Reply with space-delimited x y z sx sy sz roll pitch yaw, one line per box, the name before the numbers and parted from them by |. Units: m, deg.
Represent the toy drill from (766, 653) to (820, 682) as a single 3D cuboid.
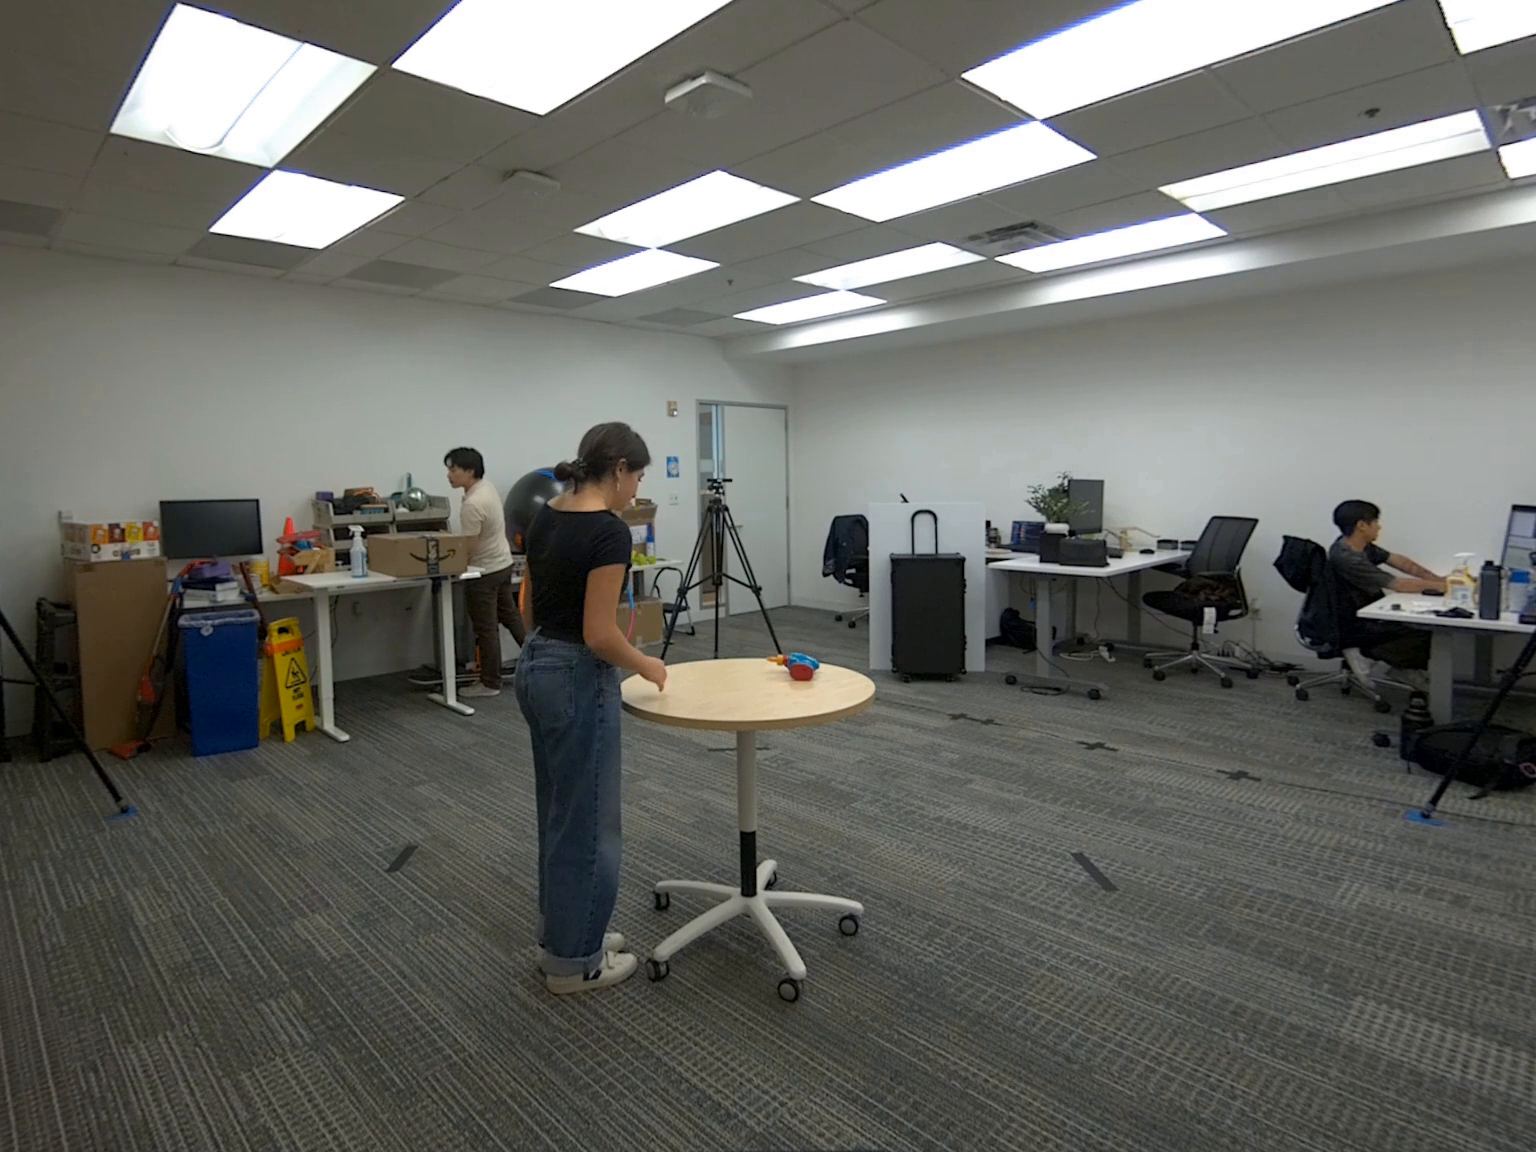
toy drill | 0.076 0.280 2.675 0.171 0.061 0.145 8 8 8
